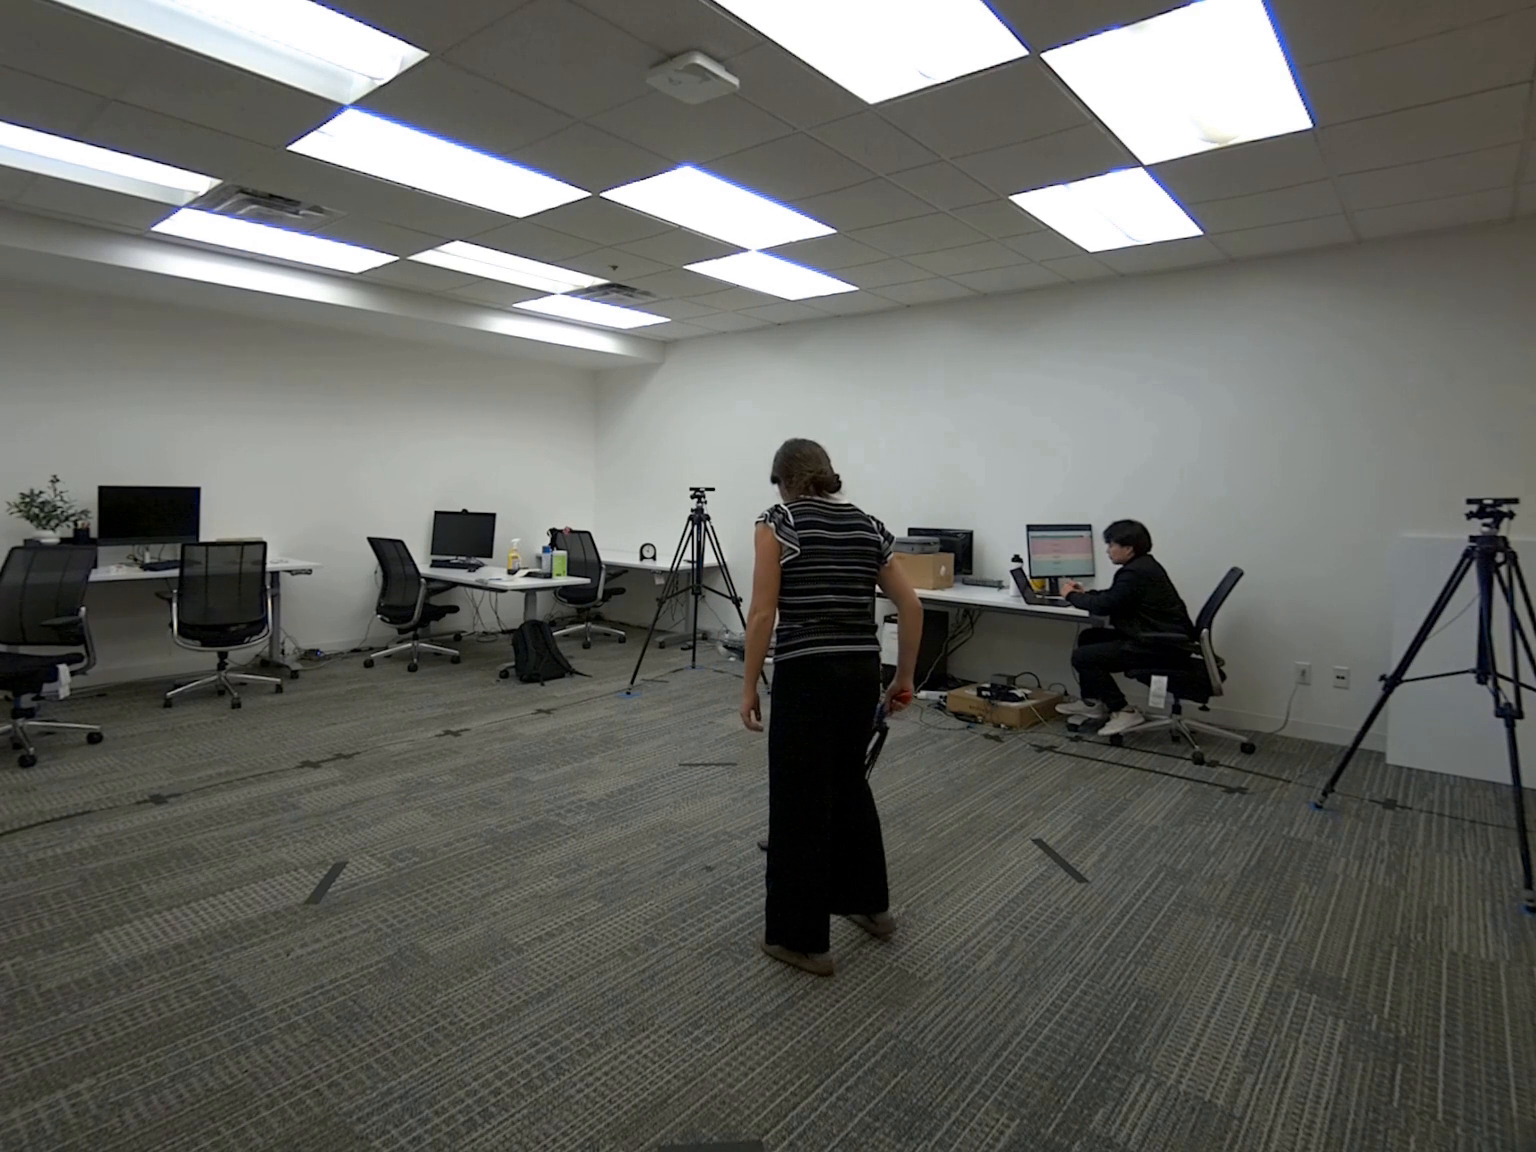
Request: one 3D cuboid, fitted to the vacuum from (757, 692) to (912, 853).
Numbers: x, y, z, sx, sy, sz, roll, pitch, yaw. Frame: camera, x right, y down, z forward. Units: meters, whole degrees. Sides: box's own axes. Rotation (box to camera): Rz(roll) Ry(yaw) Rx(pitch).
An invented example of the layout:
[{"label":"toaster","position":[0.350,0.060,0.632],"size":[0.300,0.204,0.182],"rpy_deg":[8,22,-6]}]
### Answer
[{"label":"vacuum","position":[0.247,0.708,2.953],"size":[0.247,0.149,1.035],"rpy_deg":[1,-40,-23]}]
